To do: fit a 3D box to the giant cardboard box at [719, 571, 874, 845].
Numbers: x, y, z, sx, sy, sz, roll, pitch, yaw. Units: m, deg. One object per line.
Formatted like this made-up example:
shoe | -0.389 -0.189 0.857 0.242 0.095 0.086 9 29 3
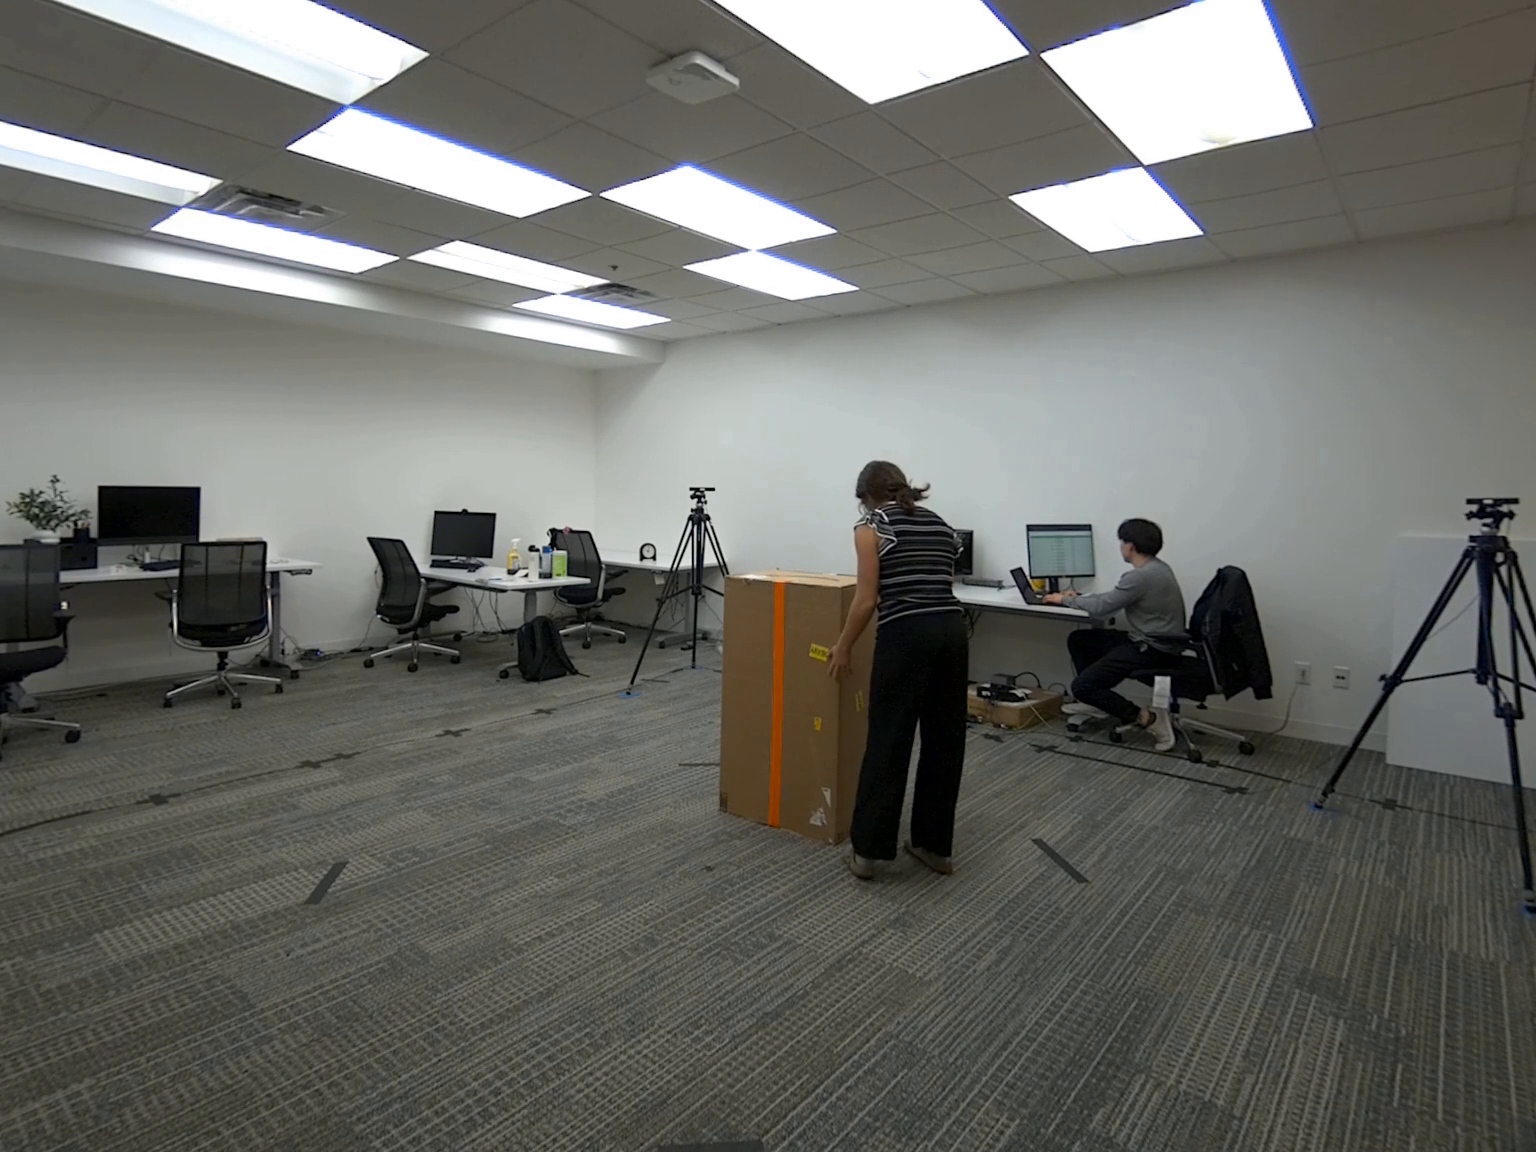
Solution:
giant cardboard box | 0.140 0.514 3.651 0.596 1.023 0.414 4 4 35
